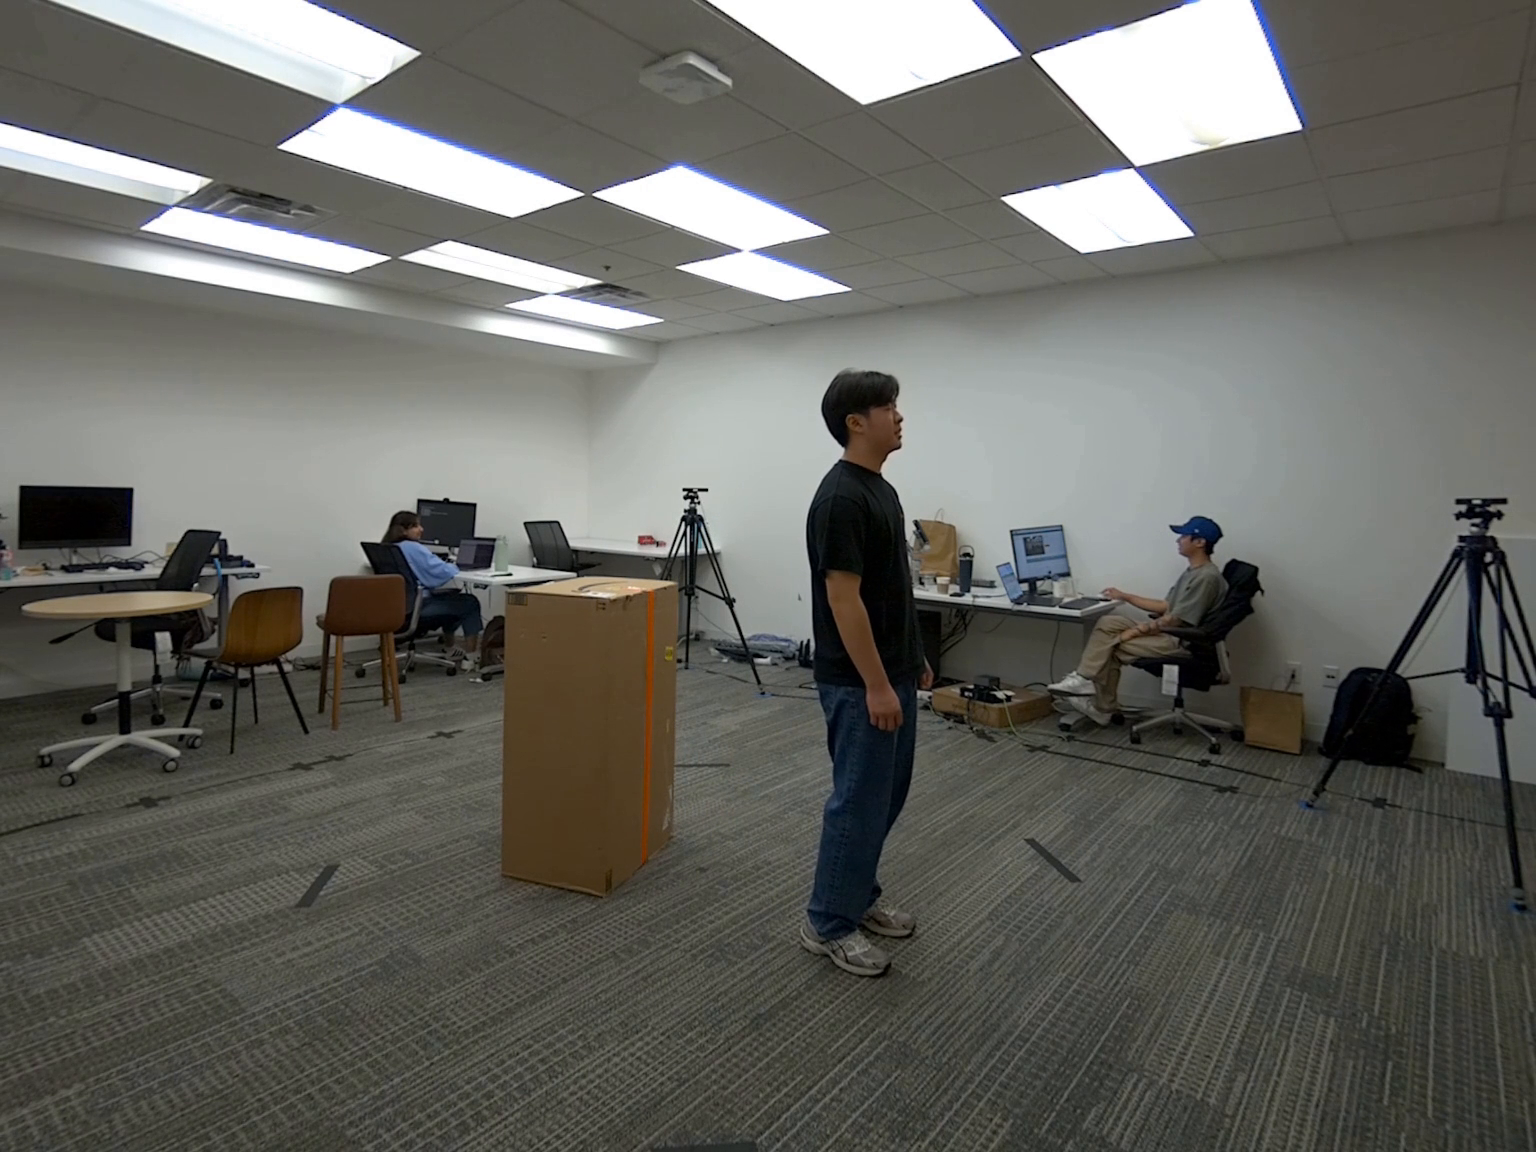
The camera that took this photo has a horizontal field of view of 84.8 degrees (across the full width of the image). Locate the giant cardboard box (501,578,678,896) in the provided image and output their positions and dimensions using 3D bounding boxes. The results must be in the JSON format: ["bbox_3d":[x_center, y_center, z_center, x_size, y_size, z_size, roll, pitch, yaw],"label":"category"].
[{"bbox_3d":[-0.660,0.541,3.192,0.457,1.024,0.572,3,3,20],"label":"giant cardboard box"}]
